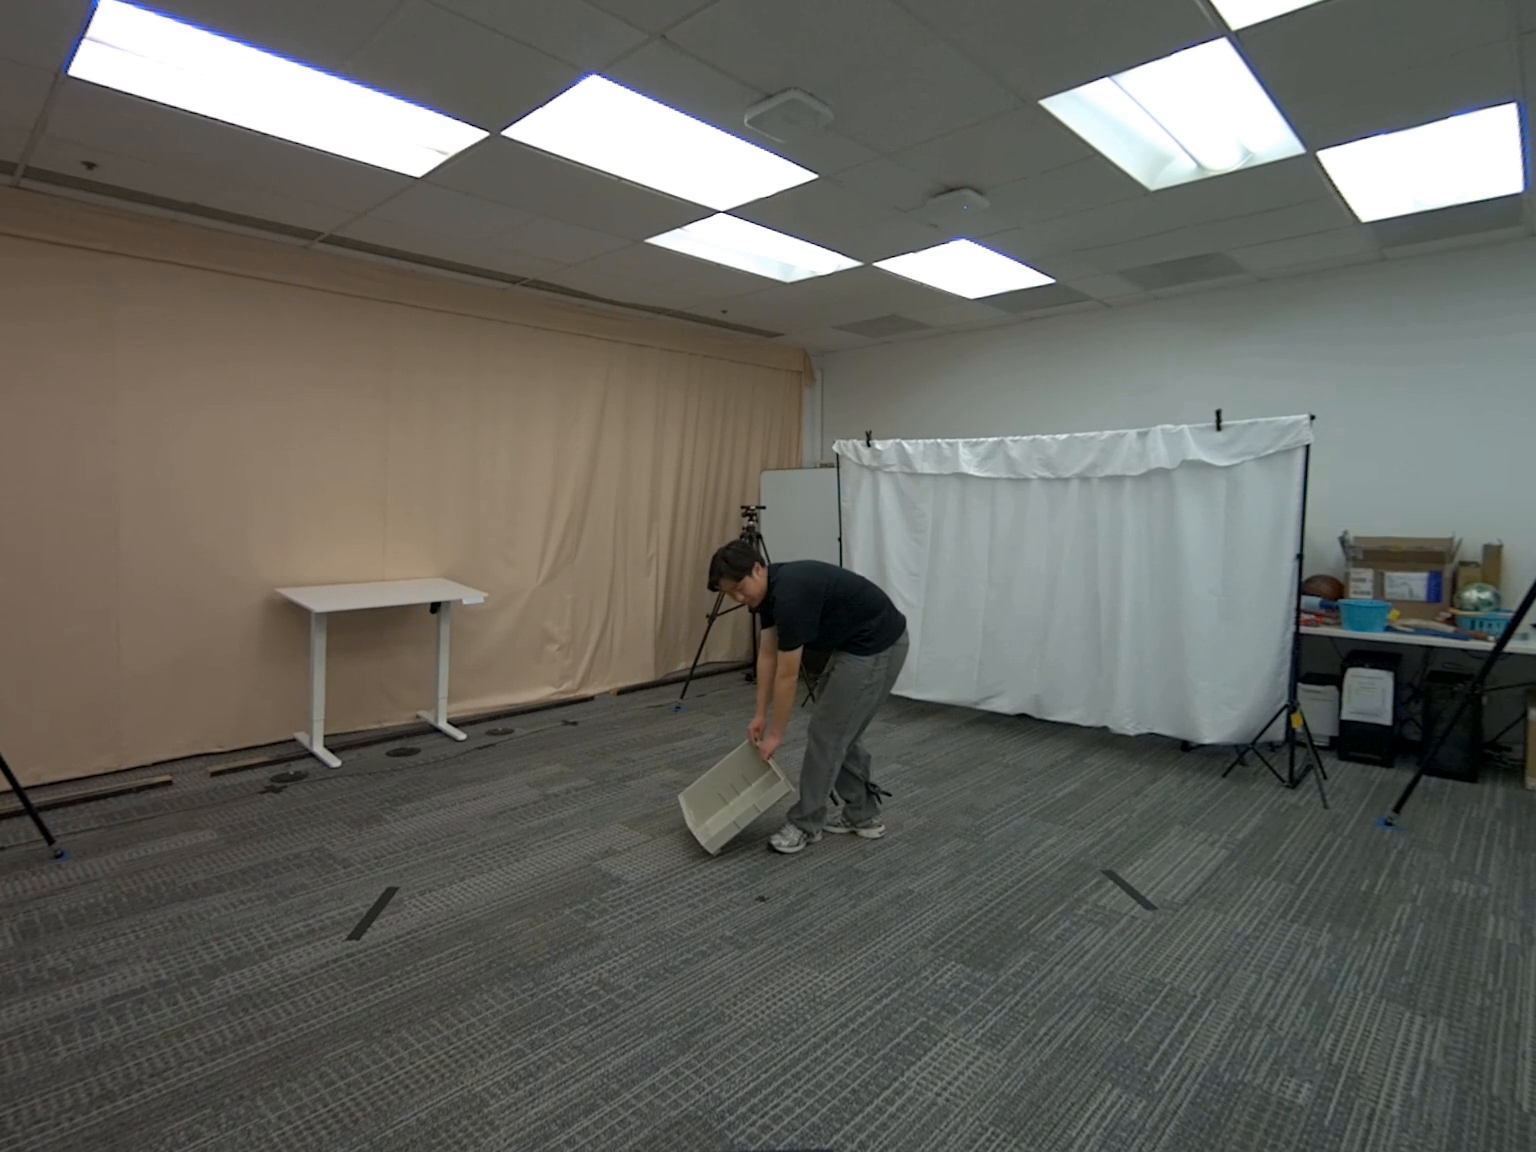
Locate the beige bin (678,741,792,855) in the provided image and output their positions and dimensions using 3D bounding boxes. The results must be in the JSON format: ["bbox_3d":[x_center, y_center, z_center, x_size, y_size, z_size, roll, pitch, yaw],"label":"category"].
[{"bbox_3d":[-0.130,0.905,3.488,0.421,0.187,0.382,-39,9,-5],"label":"beige bin"}]
